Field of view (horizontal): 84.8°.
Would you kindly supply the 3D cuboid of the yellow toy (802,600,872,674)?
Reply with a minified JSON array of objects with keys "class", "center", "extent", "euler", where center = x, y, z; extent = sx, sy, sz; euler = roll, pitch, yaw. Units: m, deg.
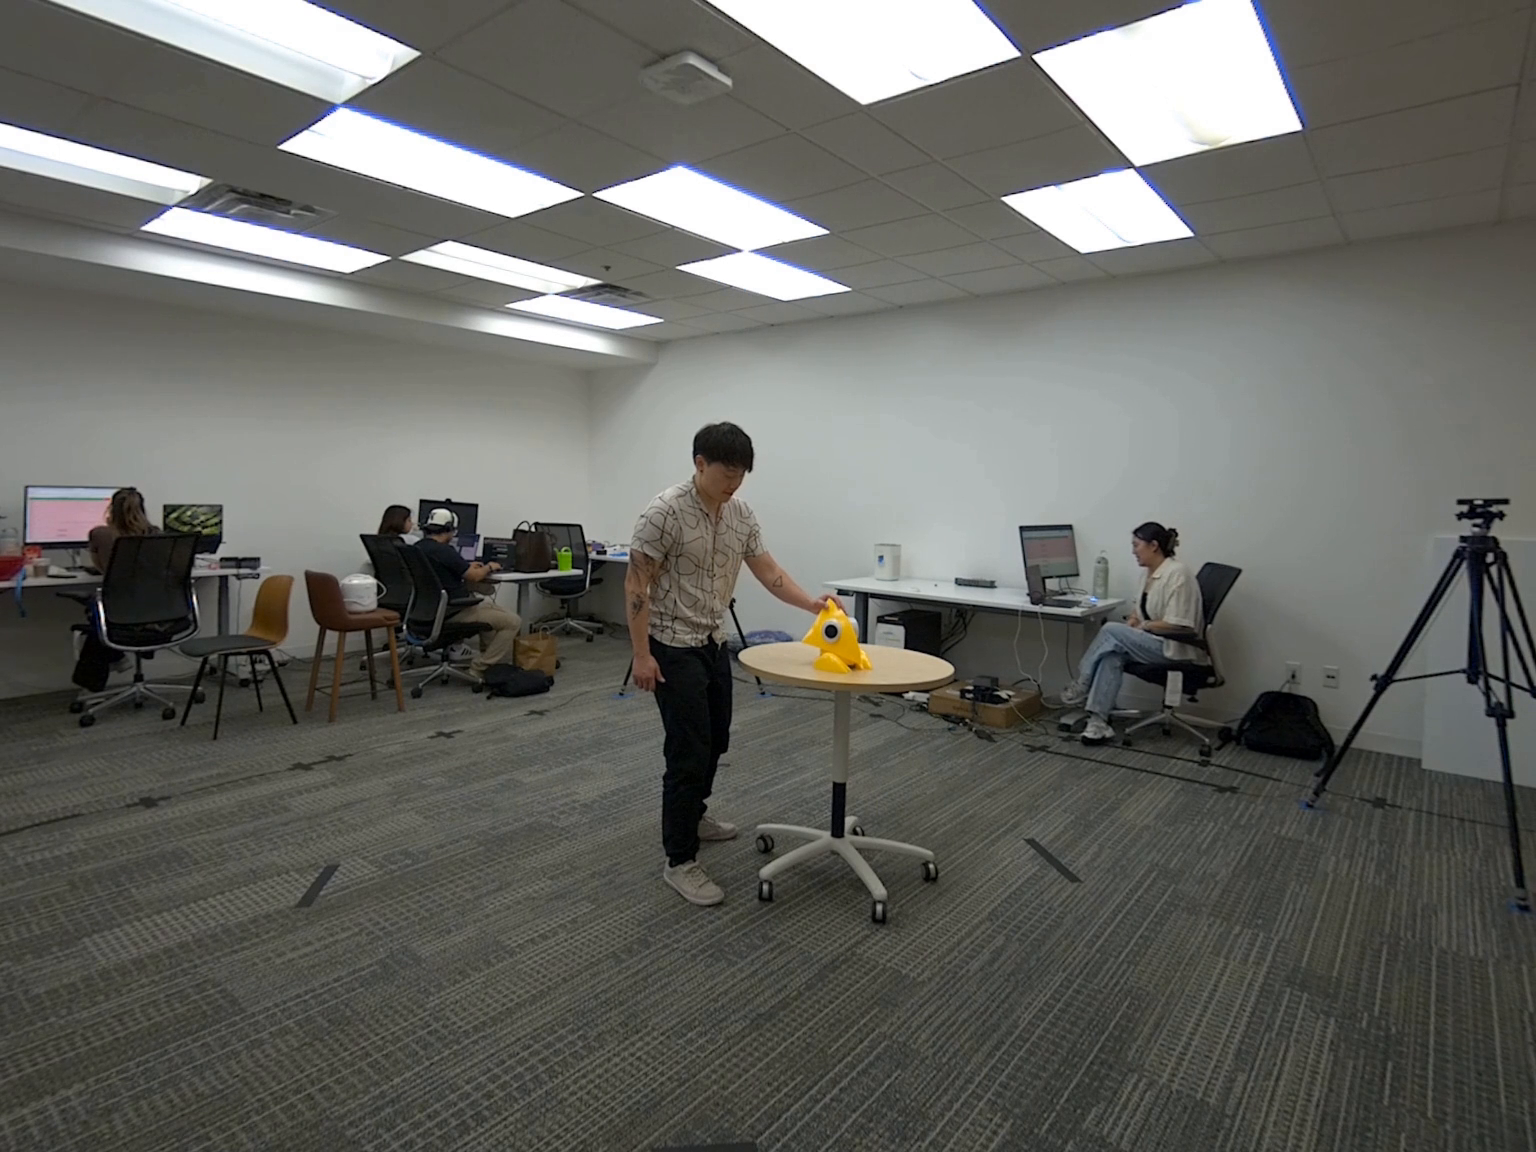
[{"class":"yellow toy","center":[0.246,0.201,2.938],"extent":[0.198,0.230,0.200],"euler":[-2,6,-43]}]
